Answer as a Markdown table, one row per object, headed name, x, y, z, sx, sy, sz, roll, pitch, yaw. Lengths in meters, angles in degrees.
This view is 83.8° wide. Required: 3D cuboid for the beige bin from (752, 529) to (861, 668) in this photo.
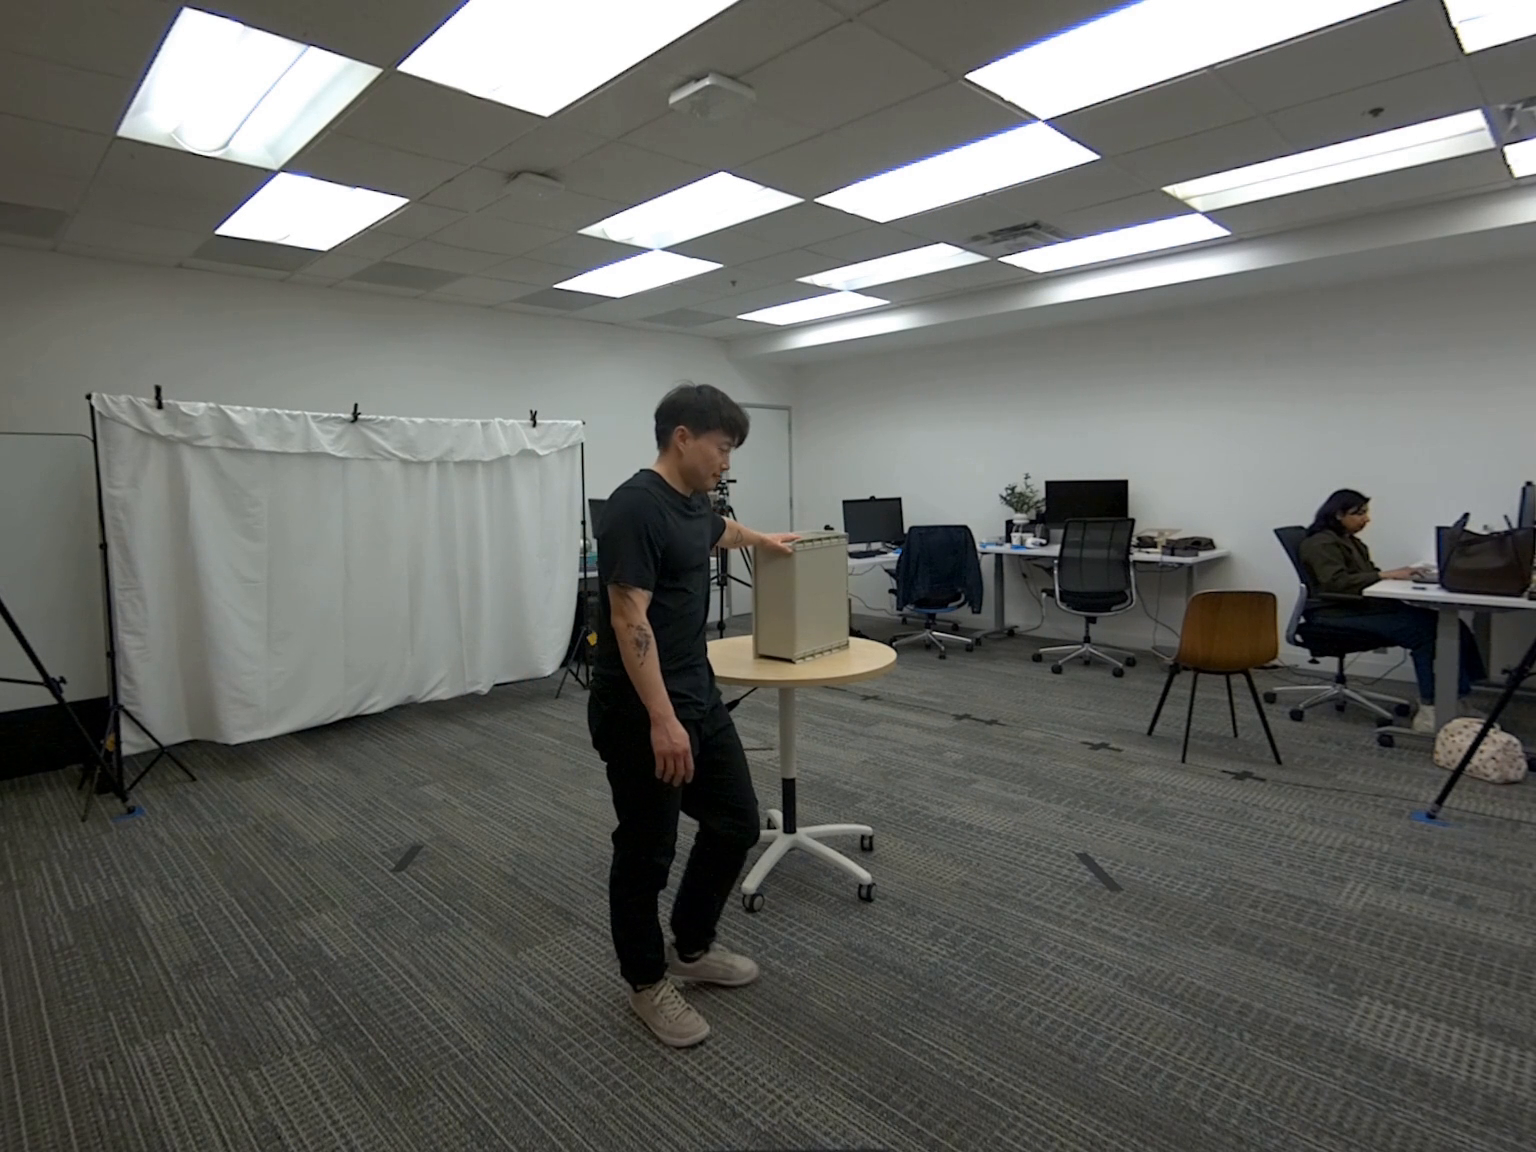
| name | x | y | z | sx | sy | sz | roll | pitch | yaw |
| --- | --- | --- | --- | --- | --- | --- | --- | --- | --- |
| beige bin | 0.138 | 0.063 | 3.008 | 0.195 | 0.420 | 0.368 | 4 | 7 | 40 |
